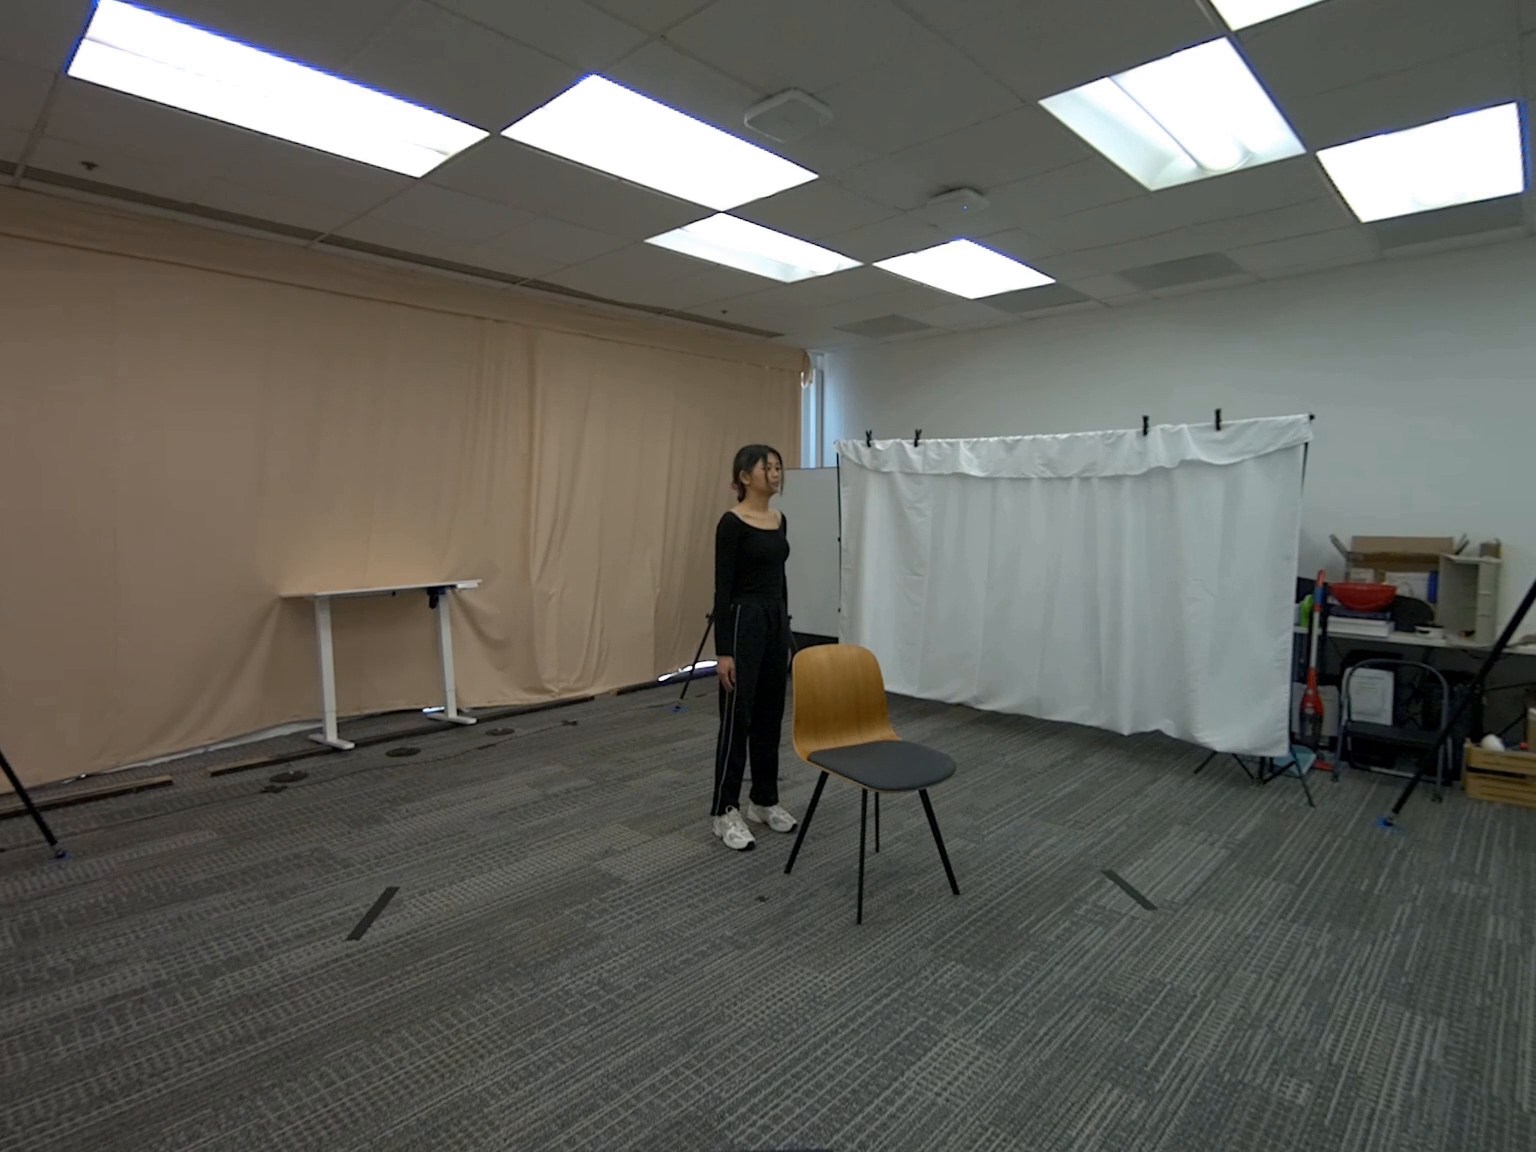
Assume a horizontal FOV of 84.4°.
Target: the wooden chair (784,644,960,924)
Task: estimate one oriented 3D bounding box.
[{"bbox_3d":[0.378,0.710,3.062,0.465,0.878,0.537,-2,-1,-30],"label":"wooden chair"}]
